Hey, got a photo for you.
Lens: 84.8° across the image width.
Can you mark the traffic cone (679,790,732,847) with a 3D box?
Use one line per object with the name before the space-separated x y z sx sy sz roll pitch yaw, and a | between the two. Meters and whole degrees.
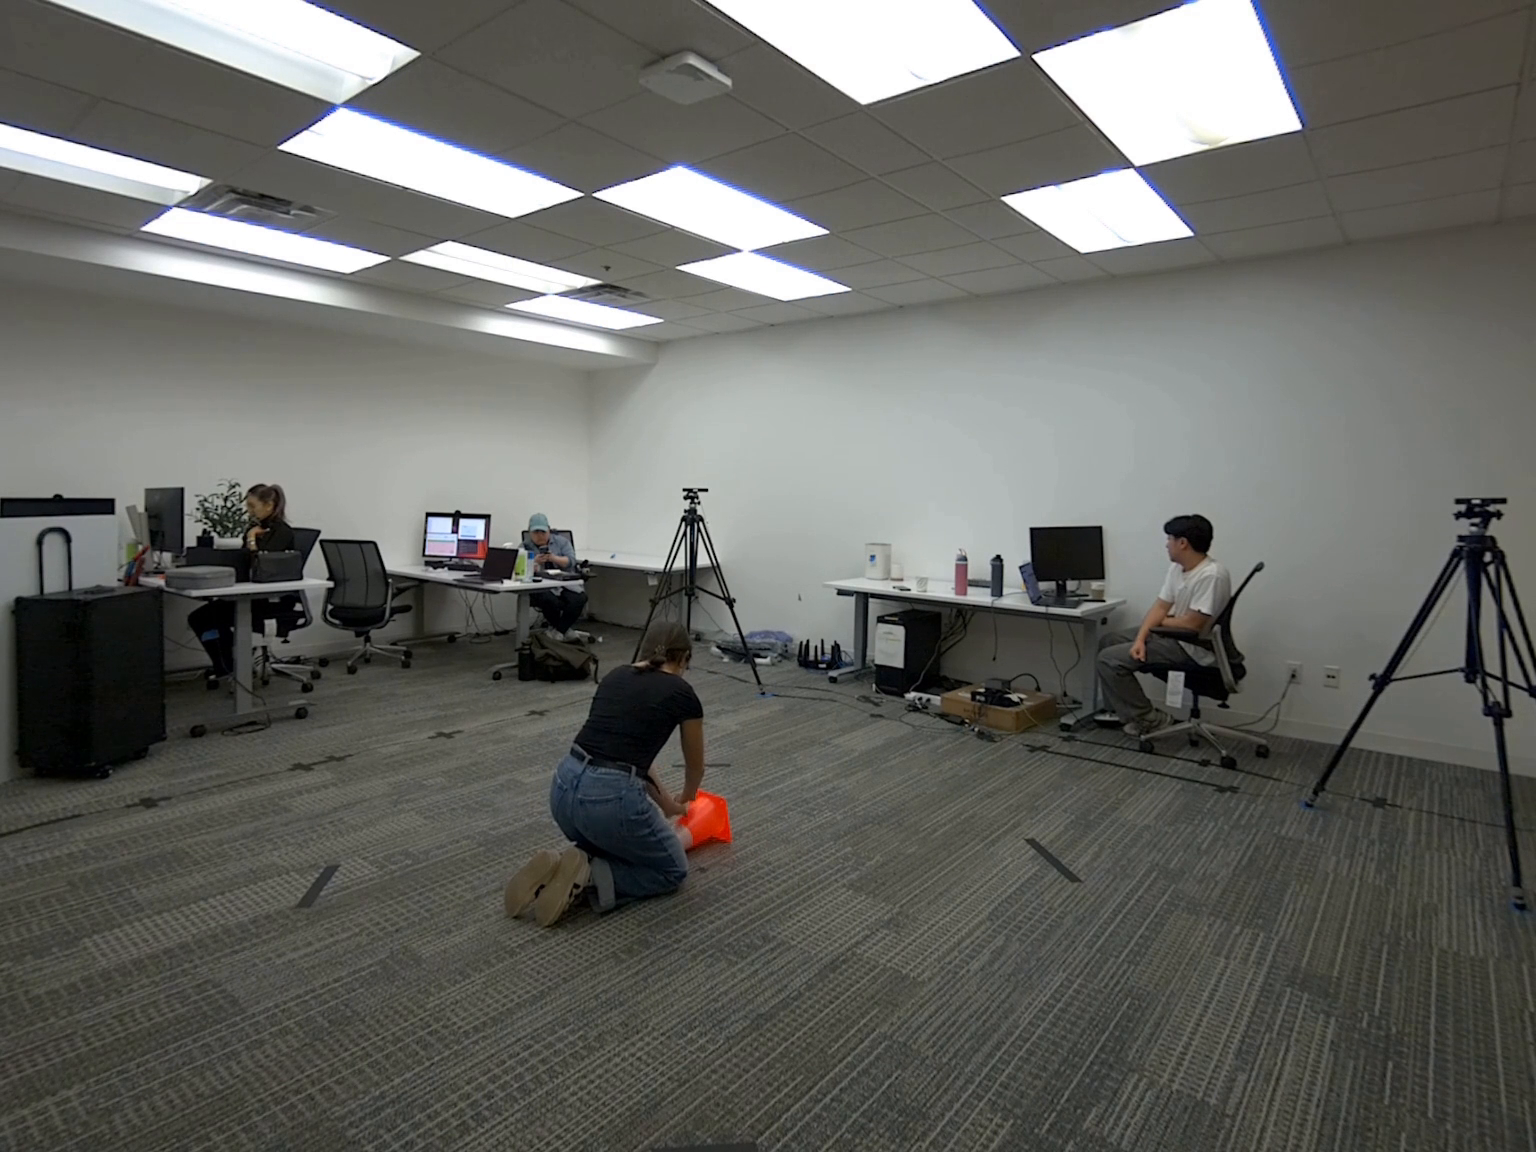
traffic cone | -0.344 0.997 3.252 0.212 0.200 0.377 4 19 38
